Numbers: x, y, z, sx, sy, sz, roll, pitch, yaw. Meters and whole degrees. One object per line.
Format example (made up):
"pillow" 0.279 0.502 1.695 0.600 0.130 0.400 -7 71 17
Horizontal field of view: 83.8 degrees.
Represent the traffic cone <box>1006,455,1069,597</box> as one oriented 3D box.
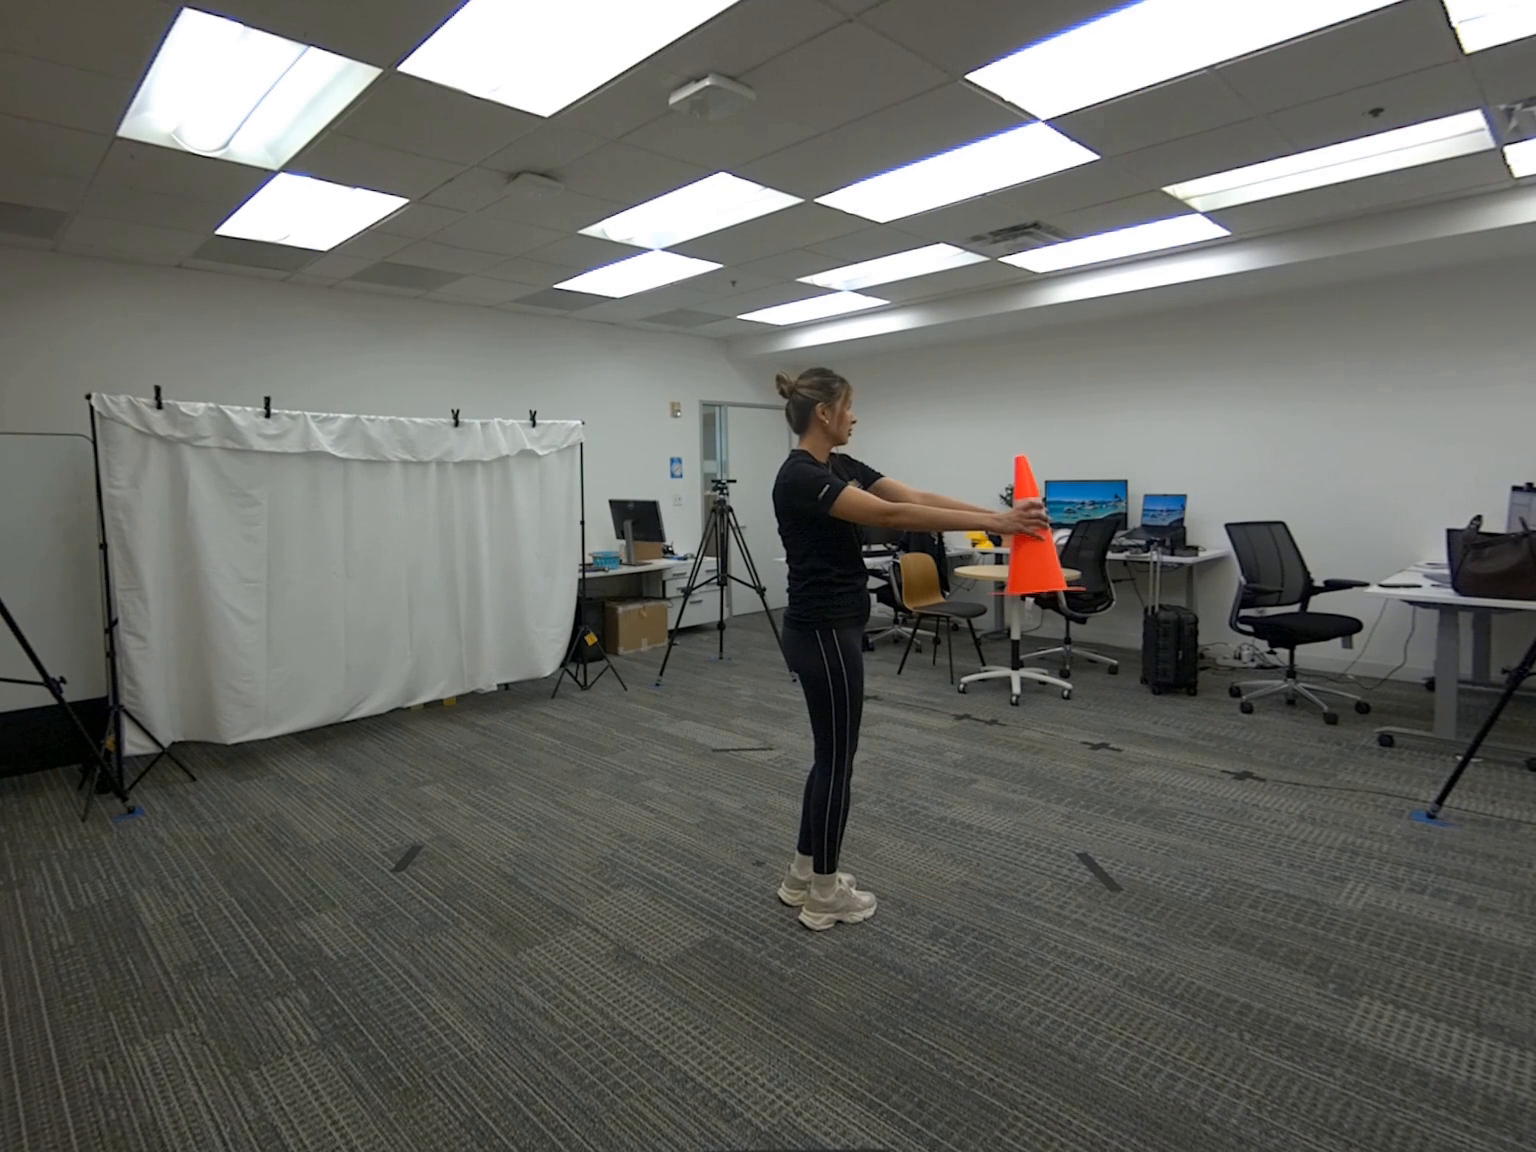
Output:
"traffic cone" 0.746 -0.145 2.367 0.210 0.385 0.198 -9 -3 41
